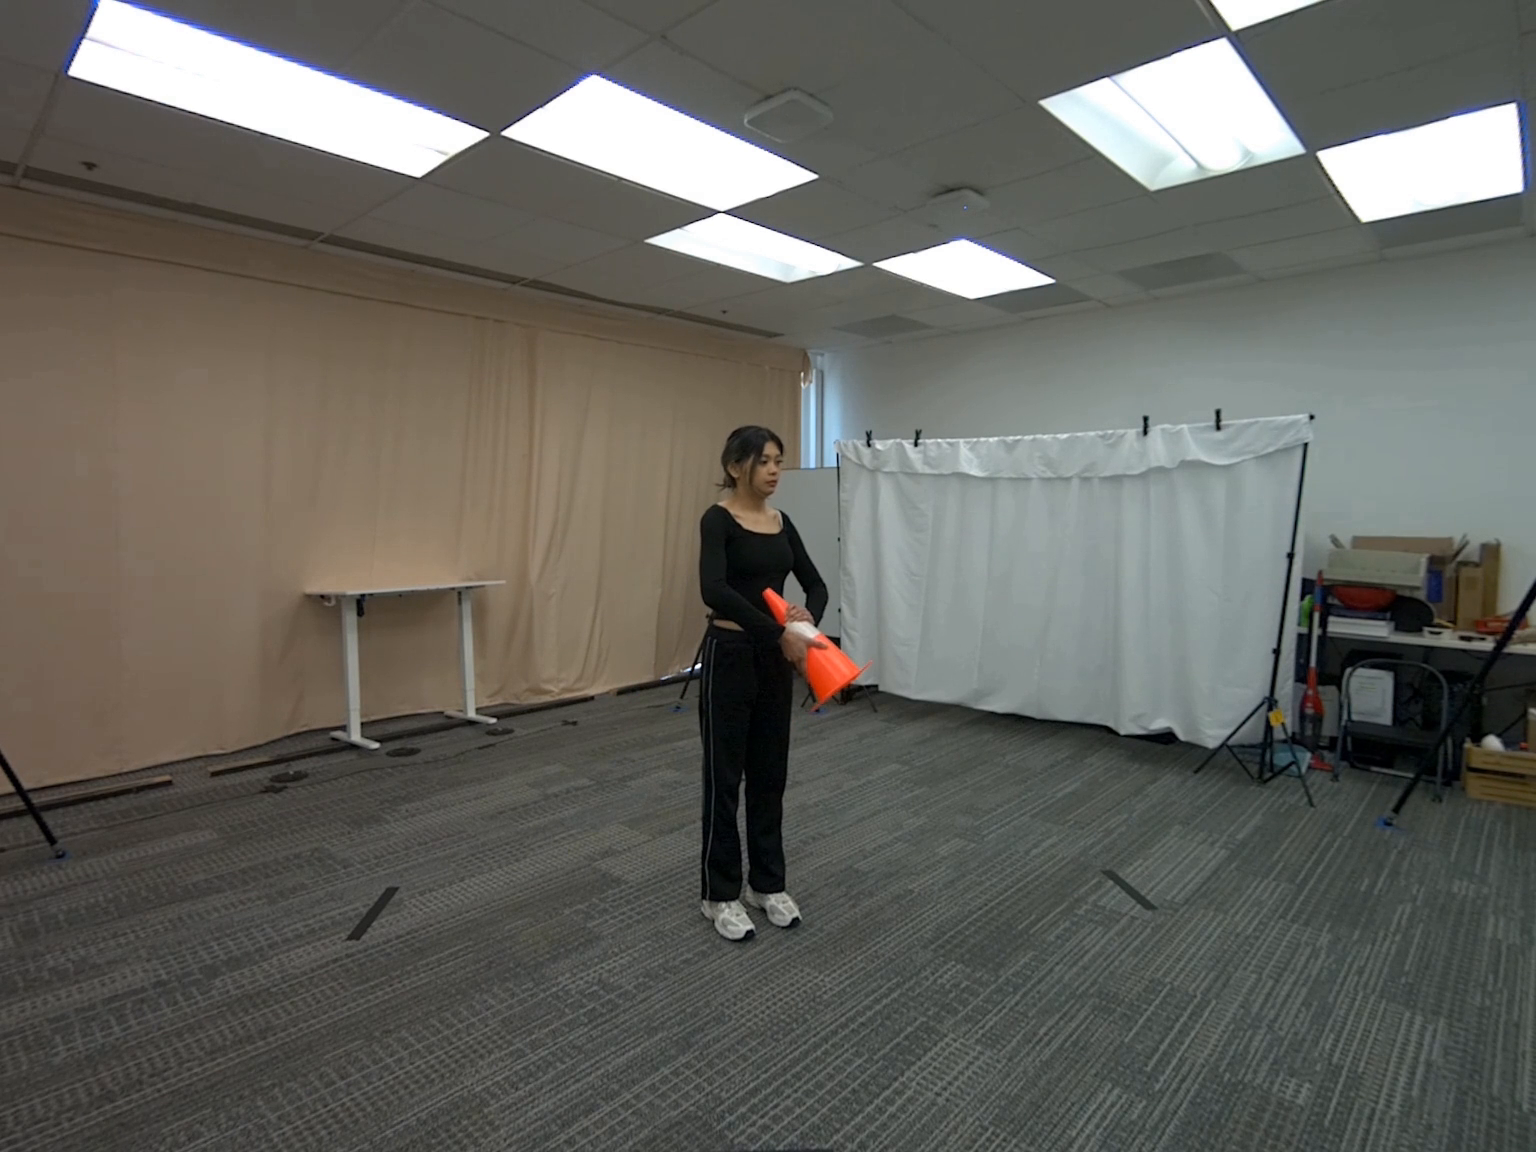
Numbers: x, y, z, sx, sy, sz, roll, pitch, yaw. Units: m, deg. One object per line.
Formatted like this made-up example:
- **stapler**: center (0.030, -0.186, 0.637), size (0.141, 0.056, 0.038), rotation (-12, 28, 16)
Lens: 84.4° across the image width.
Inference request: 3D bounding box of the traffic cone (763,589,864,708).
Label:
- **traffic cone**: center (0.116, 0.203, 2.614), size (0.202, 0.390, 0.202), rotation (-33, -14, -22)
